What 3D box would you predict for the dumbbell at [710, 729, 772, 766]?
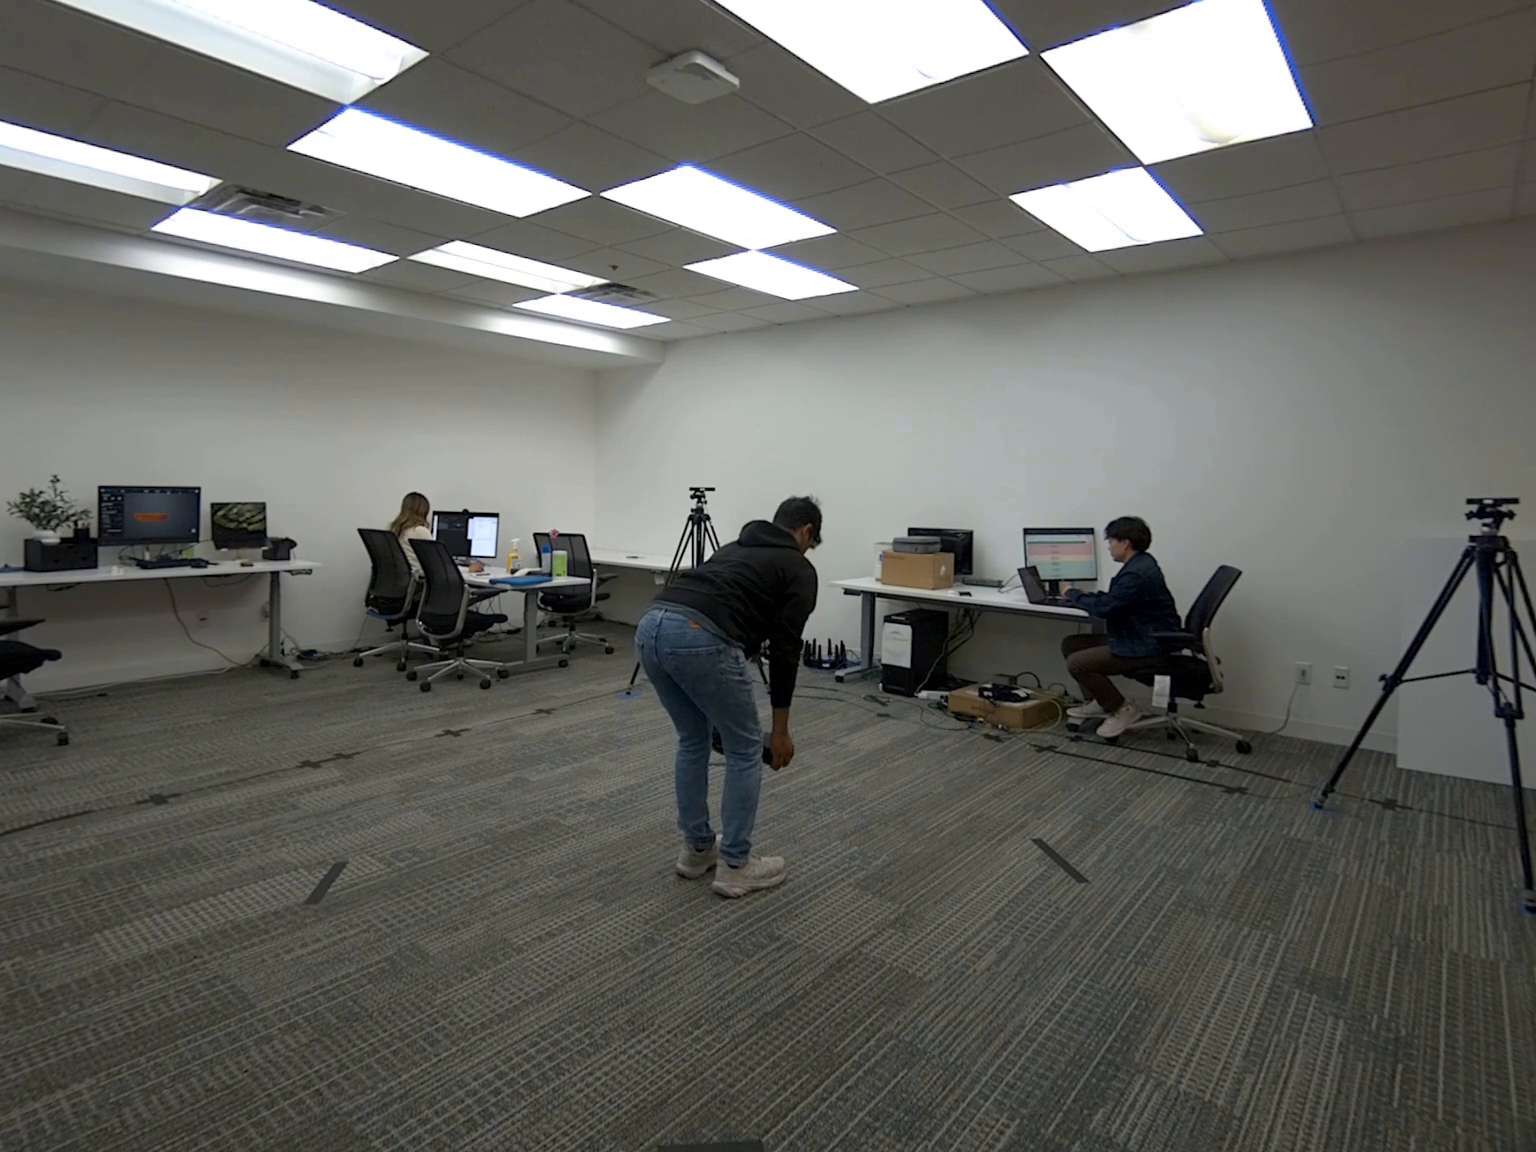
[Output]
[{"bbox_3d":[-0.085,0.619,3.126,0.304,0.105,0.122,7,38,40],"label":"dumbbell"}]
